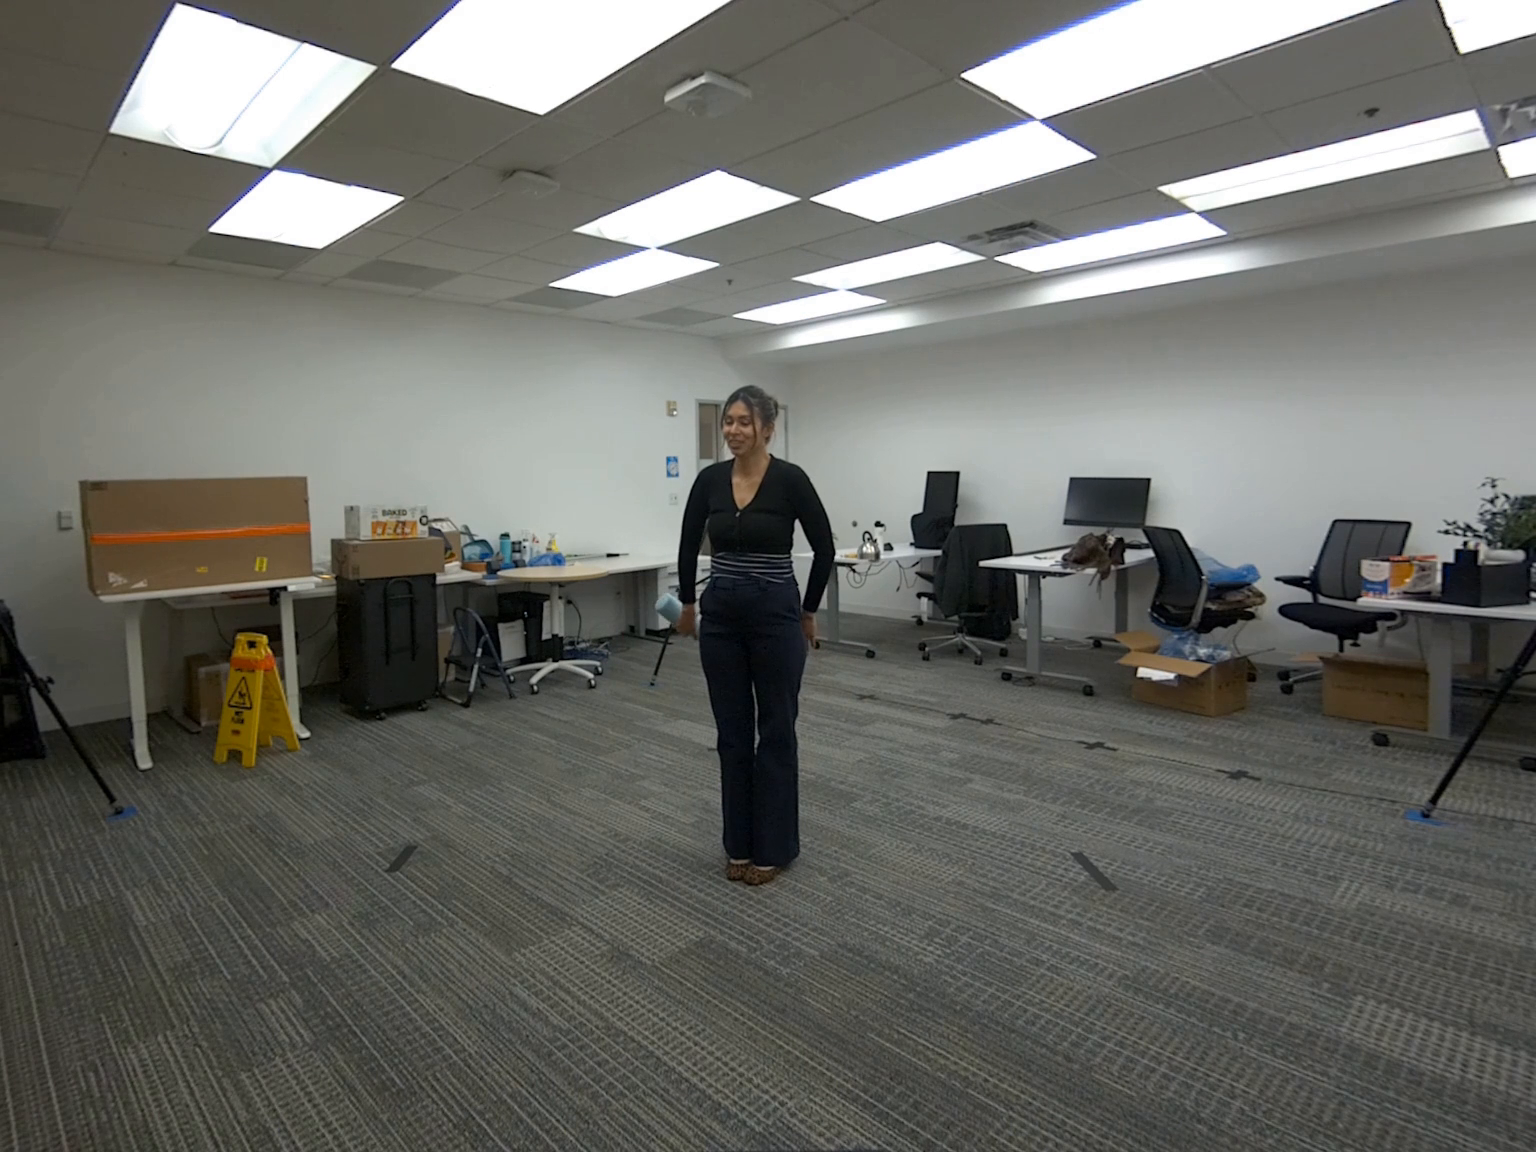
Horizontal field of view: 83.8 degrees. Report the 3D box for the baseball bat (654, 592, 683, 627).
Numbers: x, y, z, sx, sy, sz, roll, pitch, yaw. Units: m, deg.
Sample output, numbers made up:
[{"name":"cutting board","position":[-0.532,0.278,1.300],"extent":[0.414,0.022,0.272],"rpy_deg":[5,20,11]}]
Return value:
[{"name":"baseball bat","position":[-0.225,0.246,3.425],"extent":[0.526,0.089,0.091],"rpy_deg":[41,-18,-26]}]
